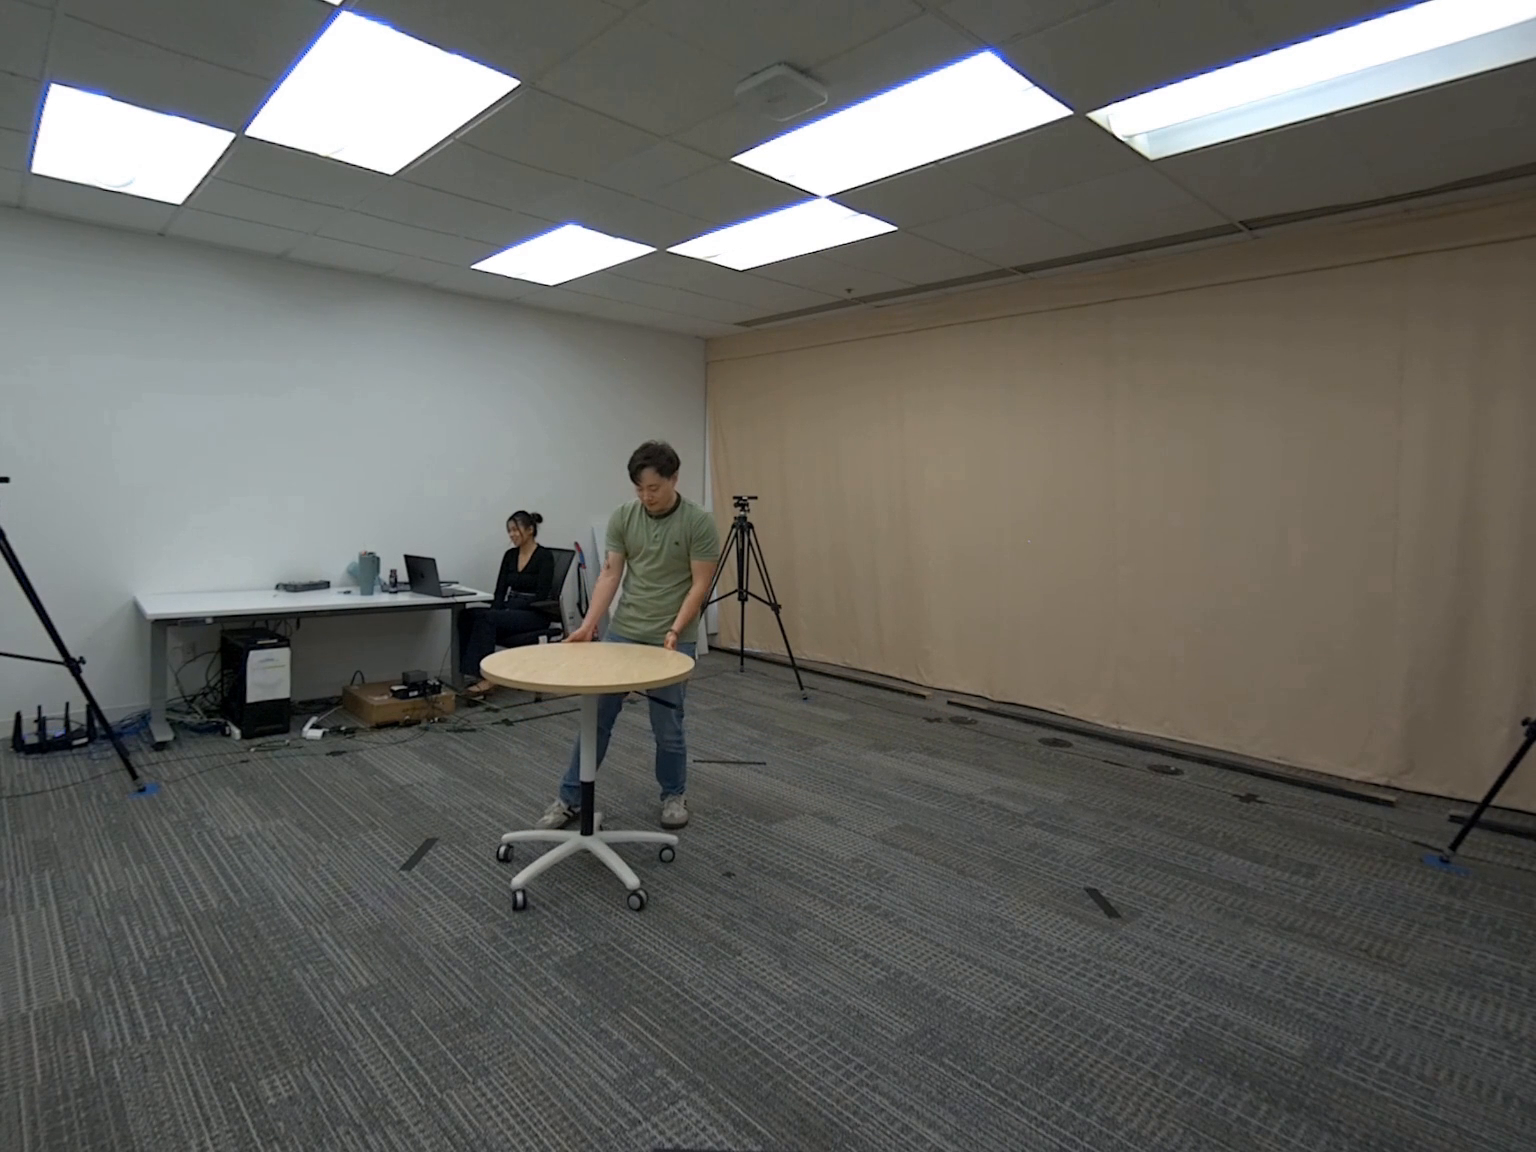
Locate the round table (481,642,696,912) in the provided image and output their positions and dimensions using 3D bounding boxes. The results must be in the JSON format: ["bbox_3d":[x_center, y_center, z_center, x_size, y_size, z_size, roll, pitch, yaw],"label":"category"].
[{"bbox_3d":[-0.671,0.705,3.076,0.763,0.792,0.767,1,4,-1],"label":"round table"}]
